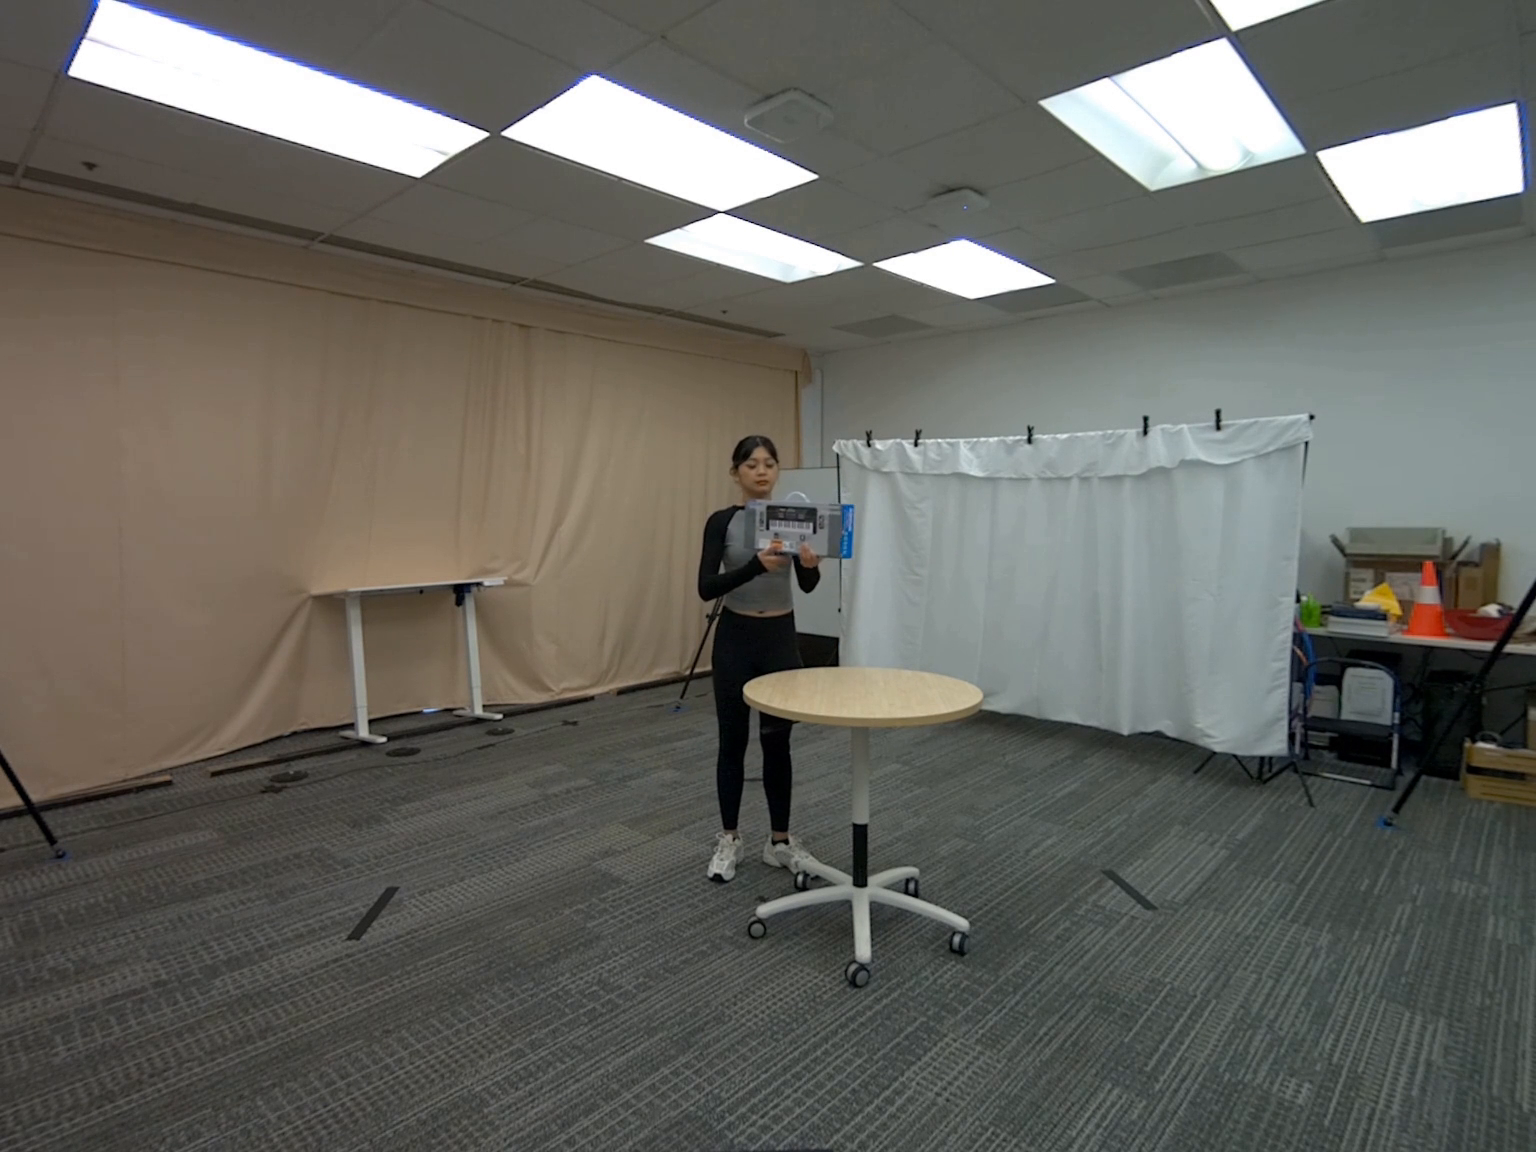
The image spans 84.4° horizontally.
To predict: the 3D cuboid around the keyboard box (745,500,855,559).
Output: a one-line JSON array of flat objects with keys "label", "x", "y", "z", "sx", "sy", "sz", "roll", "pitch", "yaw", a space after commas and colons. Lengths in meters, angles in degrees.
[{"label": "keyboard box", "x": 0.098, "y": -0.161, "z": 2.825, "sx": 0.057, "sy": 0.175, "sz": 0.452, "roll": -2, "pitch": 7, "yaw": -45}]
